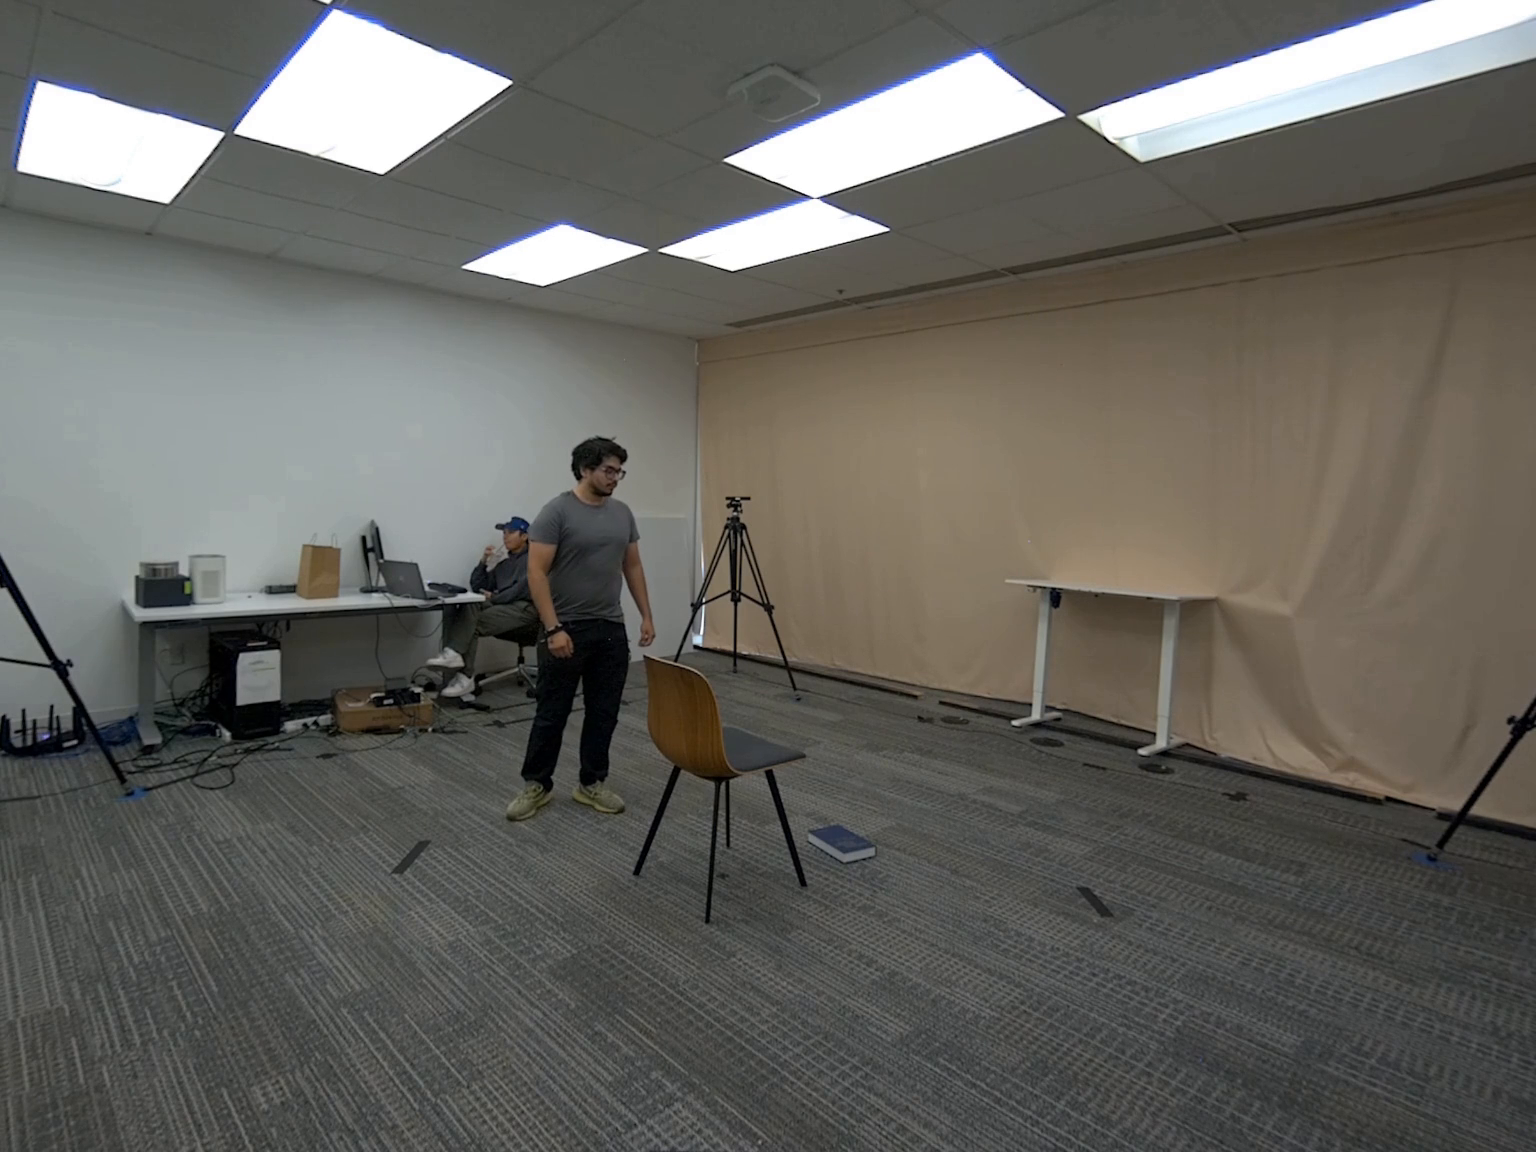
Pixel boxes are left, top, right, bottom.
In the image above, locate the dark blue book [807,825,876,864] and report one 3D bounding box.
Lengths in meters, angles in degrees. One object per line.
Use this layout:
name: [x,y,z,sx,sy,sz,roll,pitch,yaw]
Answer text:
dark blue book: [0.283,1.067,3.370,0.160,0.045,0.251,-1,6,-32]
